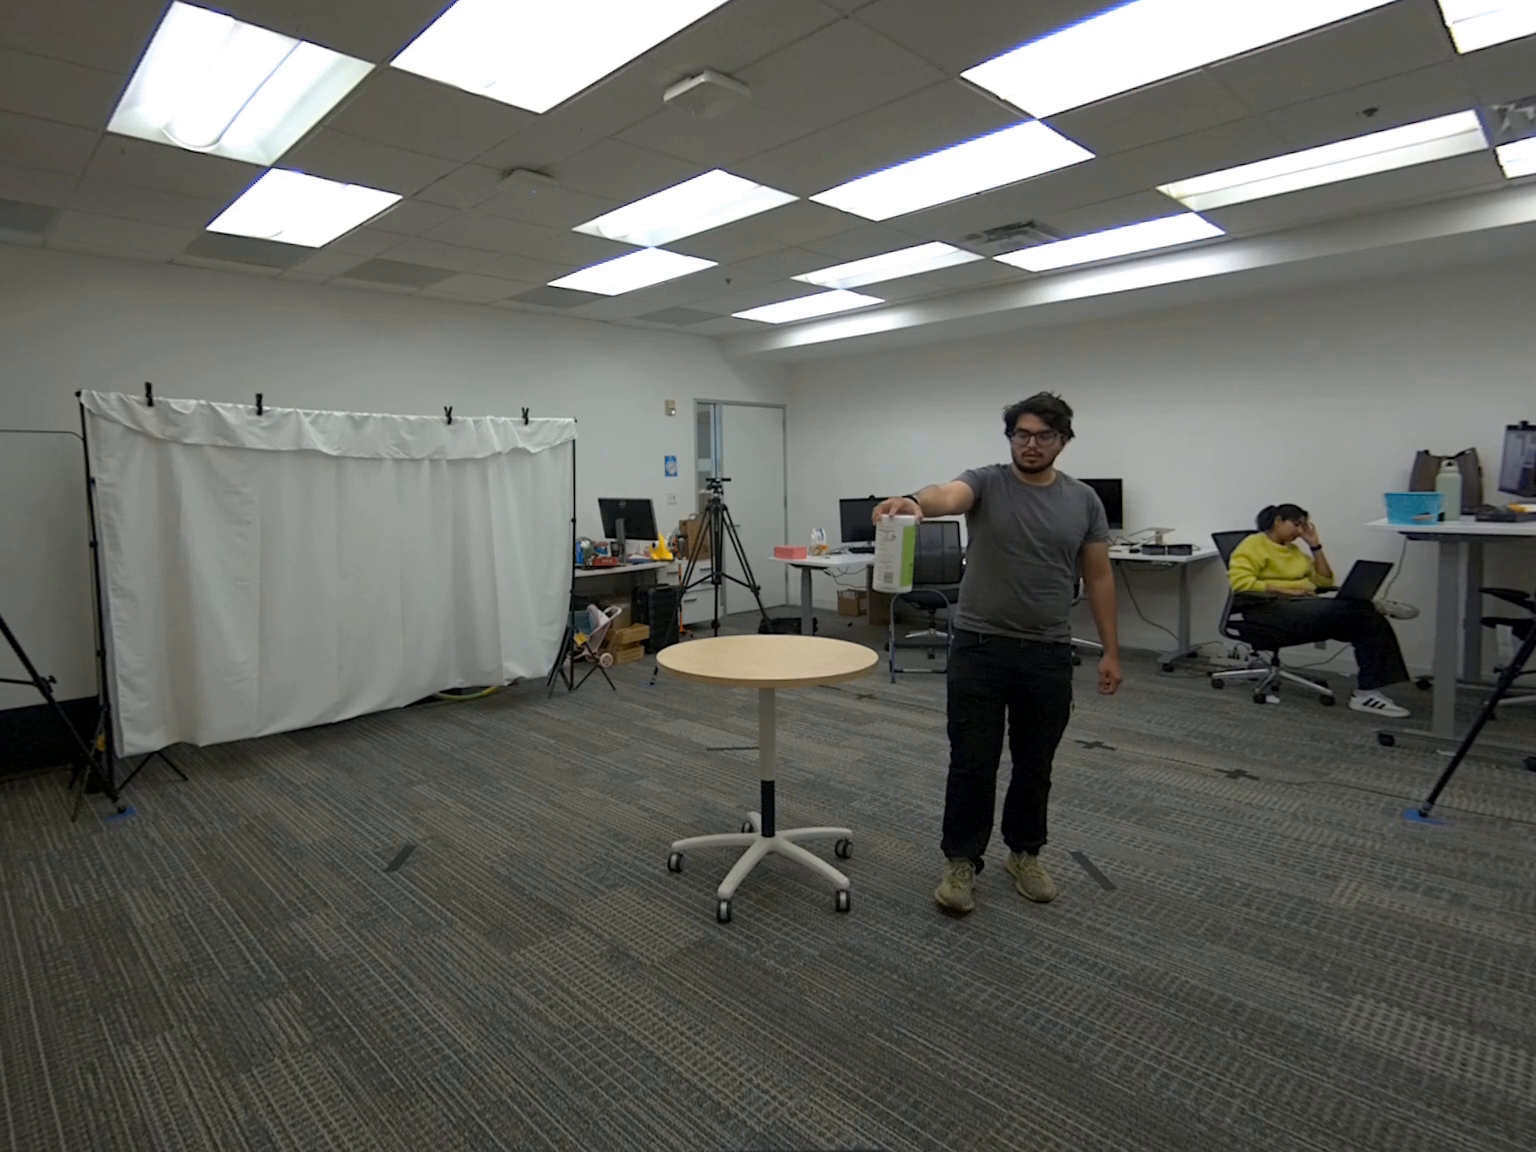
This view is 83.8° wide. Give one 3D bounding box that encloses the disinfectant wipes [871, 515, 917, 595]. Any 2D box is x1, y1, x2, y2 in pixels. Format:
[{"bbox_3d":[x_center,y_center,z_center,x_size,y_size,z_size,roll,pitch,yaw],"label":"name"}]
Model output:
[{"bbox_3d":[0.354,-0.065,2.370,0.117,0.216,0.118,2,6,-2],"label":"disinfectant wipes"}]
